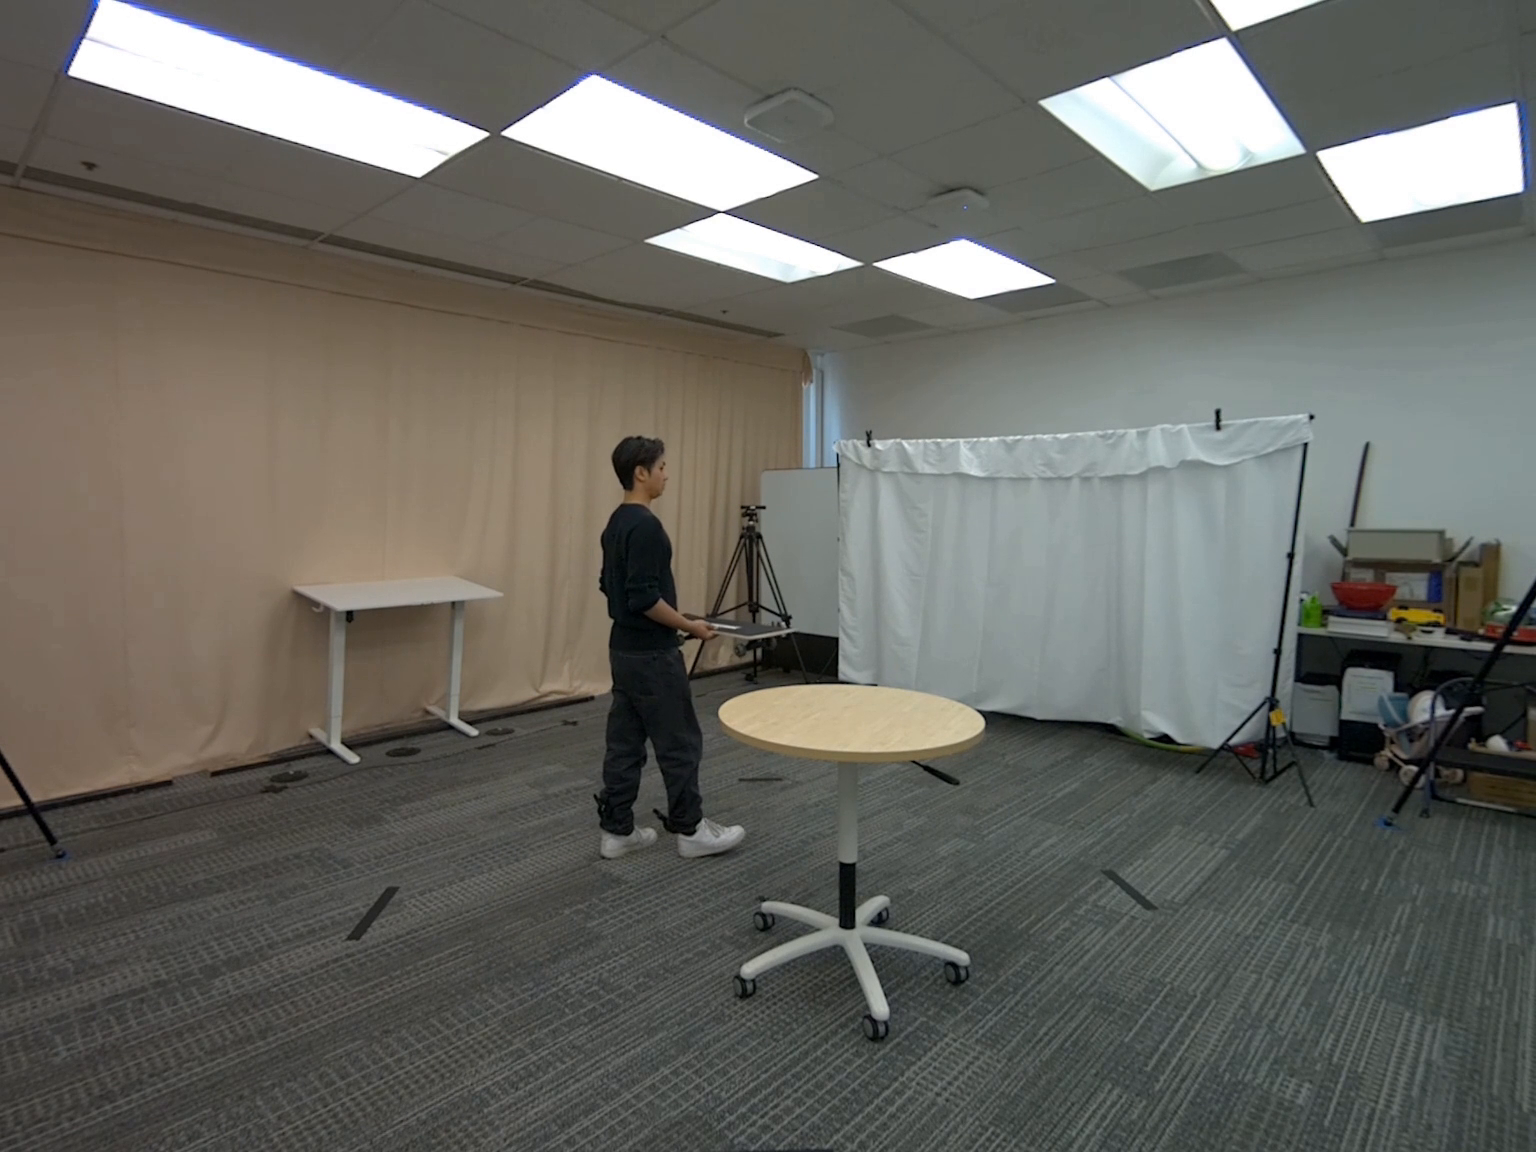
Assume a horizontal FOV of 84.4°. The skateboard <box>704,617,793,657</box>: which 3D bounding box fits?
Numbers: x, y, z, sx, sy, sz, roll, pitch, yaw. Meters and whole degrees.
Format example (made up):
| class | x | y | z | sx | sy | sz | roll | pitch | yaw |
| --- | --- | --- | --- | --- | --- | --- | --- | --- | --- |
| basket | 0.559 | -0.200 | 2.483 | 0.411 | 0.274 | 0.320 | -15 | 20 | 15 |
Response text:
| class | x | y | z | sx | sy | sz | roll | pitch | yaw |
| --- | --- | --- | --- | --- | --- | --- | --- | --- | --- |
| skateboard | -0.193 | 0.239 | 3.393 | 0.188 | 0.110 | 0.812 | -12 | 11 | -42 |
